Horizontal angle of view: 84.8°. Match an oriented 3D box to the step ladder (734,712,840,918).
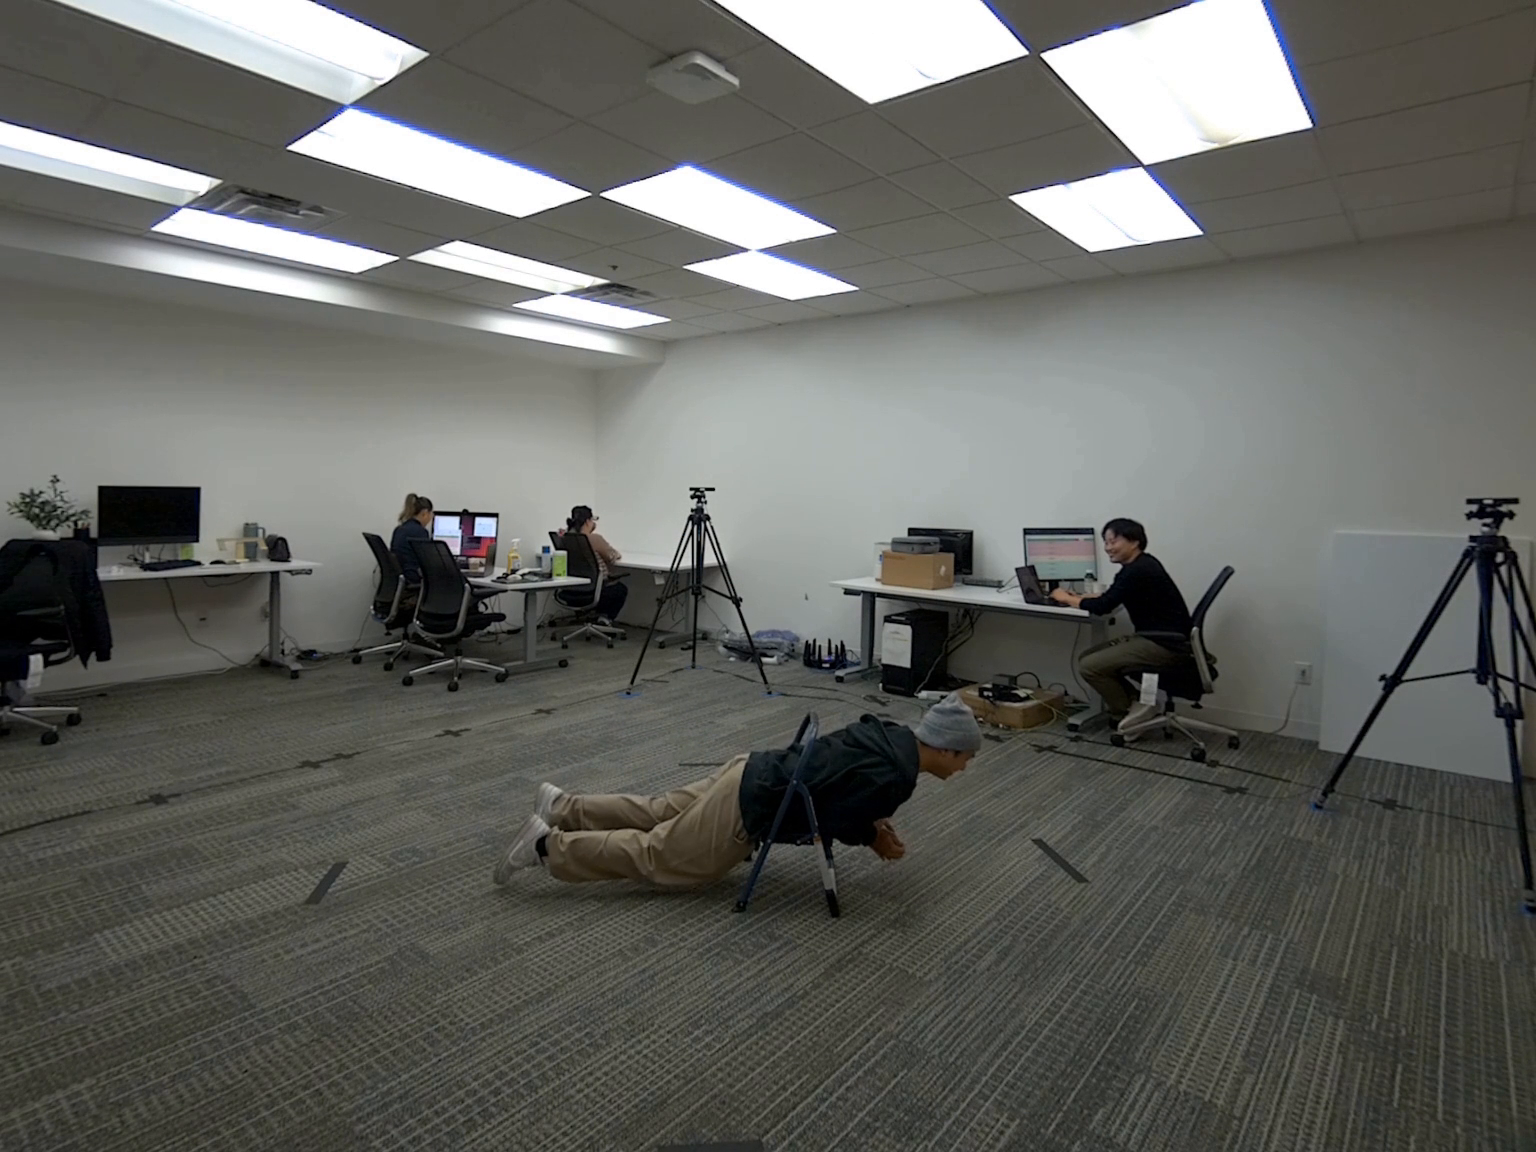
[{"bbox_3d":[0.071,0.793,2.970,0.351,0.605,0.430,1,3,2],"label":"step ladder"}]
